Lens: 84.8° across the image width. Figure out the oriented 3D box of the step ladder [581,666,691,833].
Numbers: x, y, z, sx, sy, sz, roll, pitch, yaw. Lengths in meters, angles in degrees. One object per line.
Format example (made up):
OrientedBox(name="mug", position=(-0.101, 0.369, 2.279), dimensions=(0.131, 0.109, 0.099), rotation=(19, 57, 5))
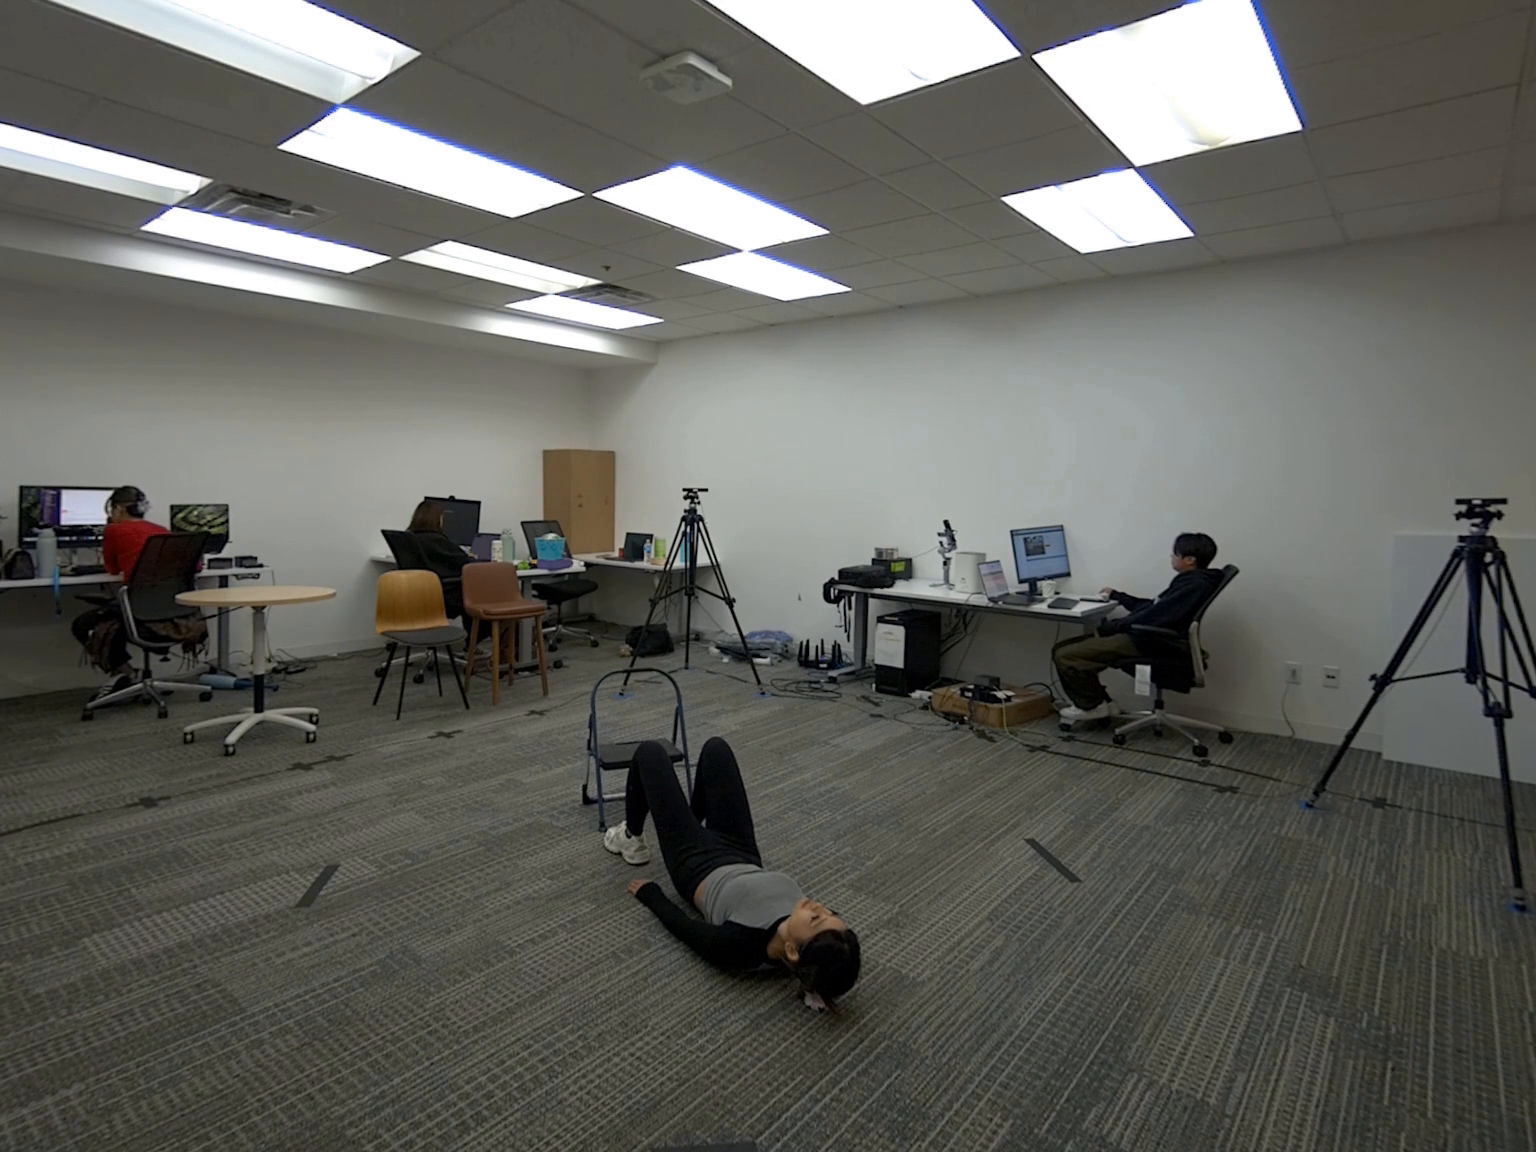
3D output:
OrientedBox(name="step ladder", position=(-0.570, 0.710, 3.654), dimensions=(0.420, 0.604, 0.359), rotation=(-1, 4, -25))
